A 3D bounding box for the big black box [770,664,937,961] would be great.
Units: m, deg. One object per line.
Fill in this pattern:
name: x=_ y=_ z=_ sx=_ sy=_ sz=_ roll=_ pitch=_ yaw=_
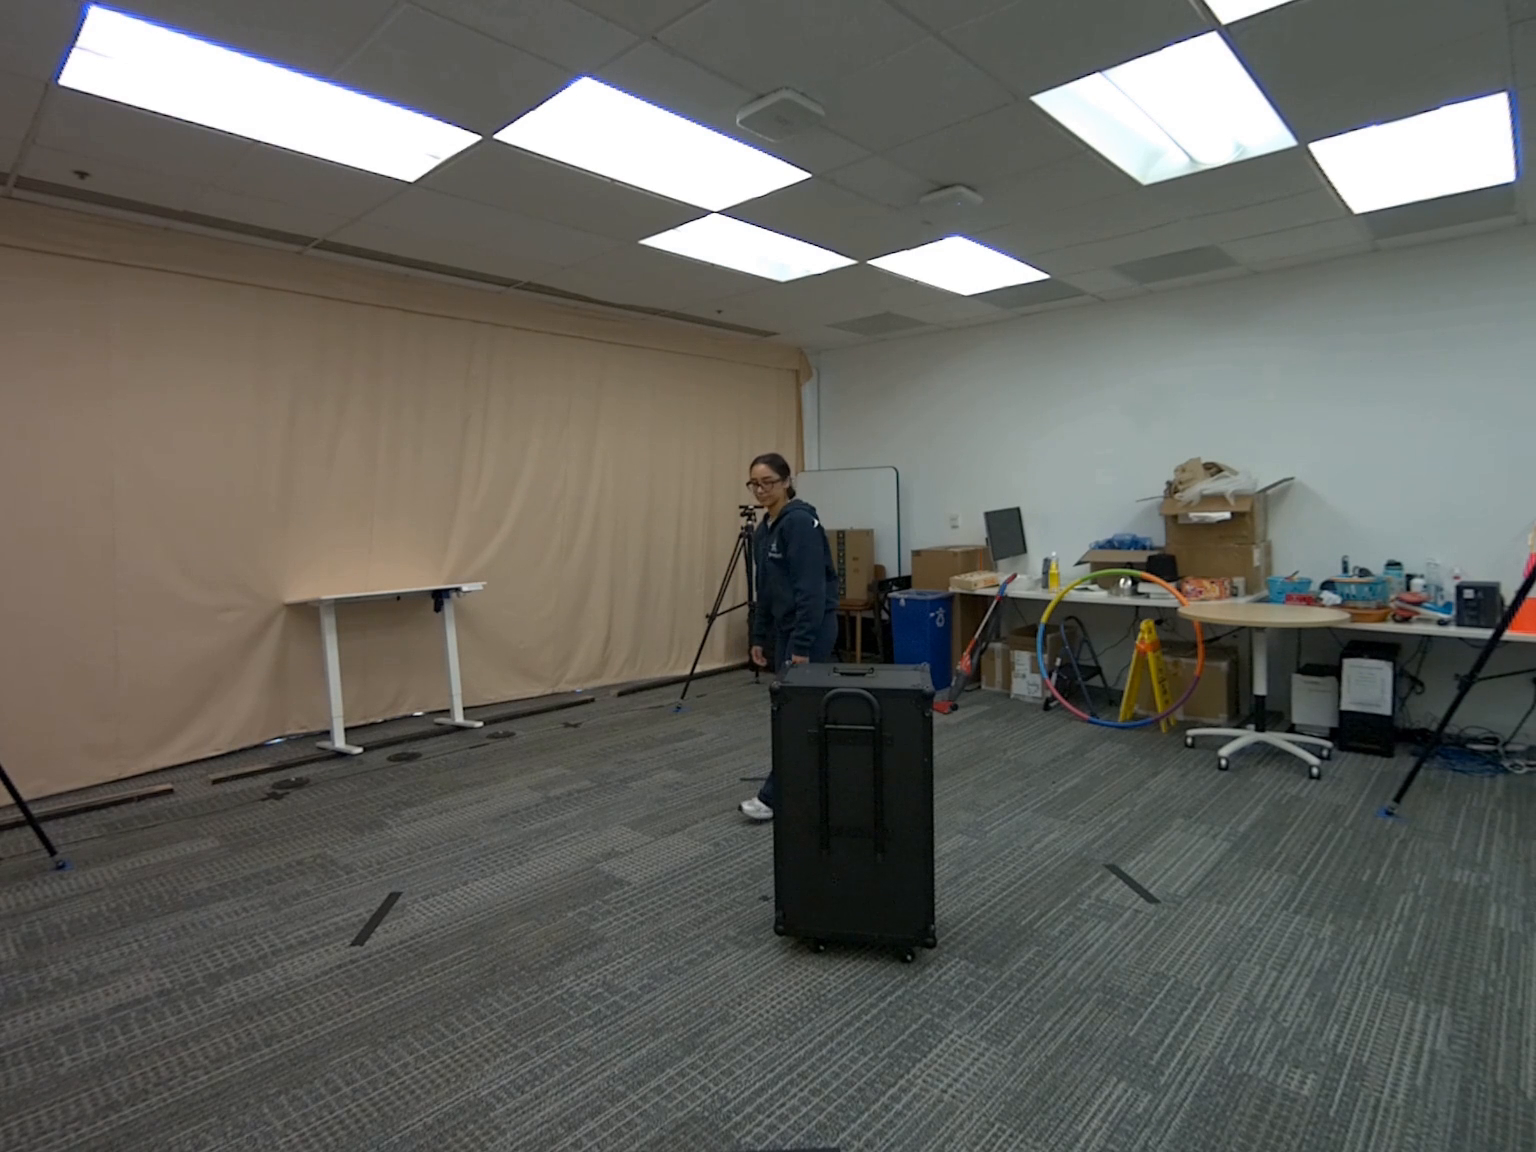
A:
big black box: x=0.281 y=0.737 z=2.676 sx=0.528 sy=0.859 sz=0.392 roll=-1 pitch=4 yaw=12
